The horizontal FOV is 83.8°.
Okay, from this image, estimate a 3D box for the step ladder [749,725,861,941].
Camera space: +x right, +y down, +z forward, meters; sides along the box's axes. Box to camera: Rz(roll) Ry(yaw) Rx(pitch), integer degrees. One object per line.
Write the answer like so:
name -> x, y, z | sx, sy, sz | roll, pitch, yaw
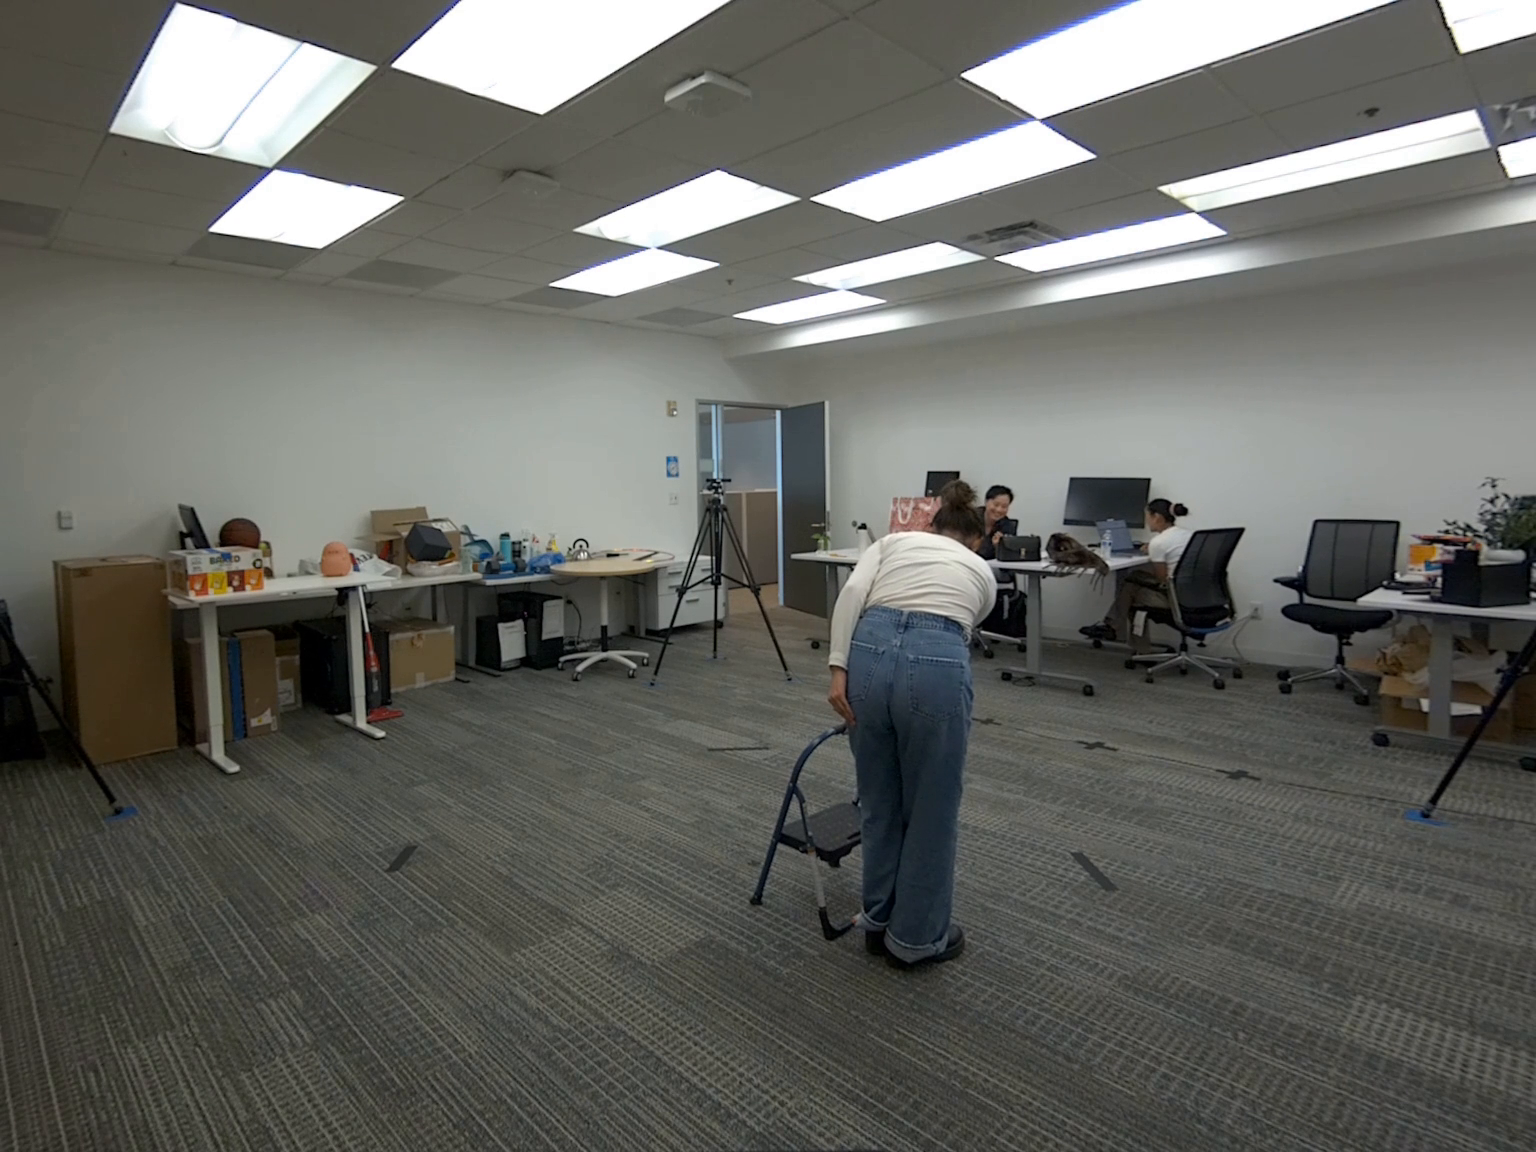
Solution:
step ladder -> 0.207, 0.771, 2.813 | 0.419, 0.604, 0.360 | -6, 6, -44
